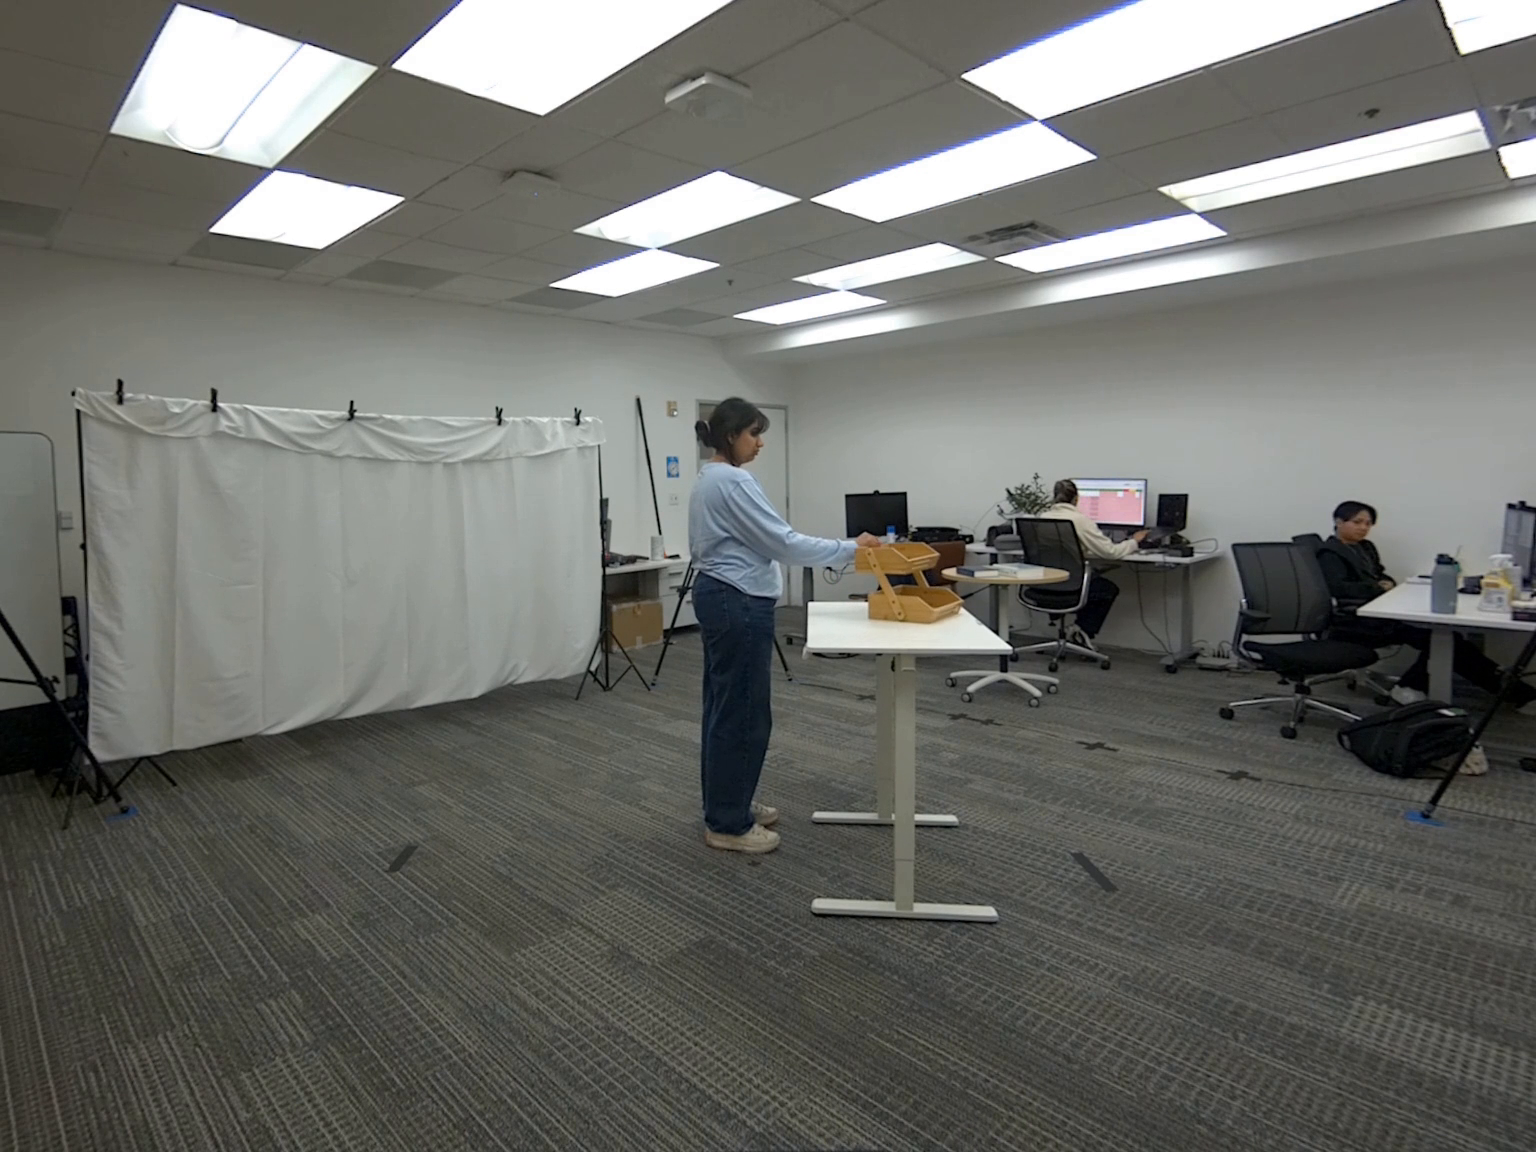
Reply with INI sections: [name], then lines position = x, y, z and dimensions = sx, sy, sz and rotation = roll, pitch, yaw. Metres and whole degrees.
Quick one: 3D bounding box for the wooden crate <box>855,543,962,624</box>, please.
[wooden crate]
position = 0.524, 0.014, 3.162
dimensions = 0.310, 0.272, 0.317
rotation = 1, 5, 33
